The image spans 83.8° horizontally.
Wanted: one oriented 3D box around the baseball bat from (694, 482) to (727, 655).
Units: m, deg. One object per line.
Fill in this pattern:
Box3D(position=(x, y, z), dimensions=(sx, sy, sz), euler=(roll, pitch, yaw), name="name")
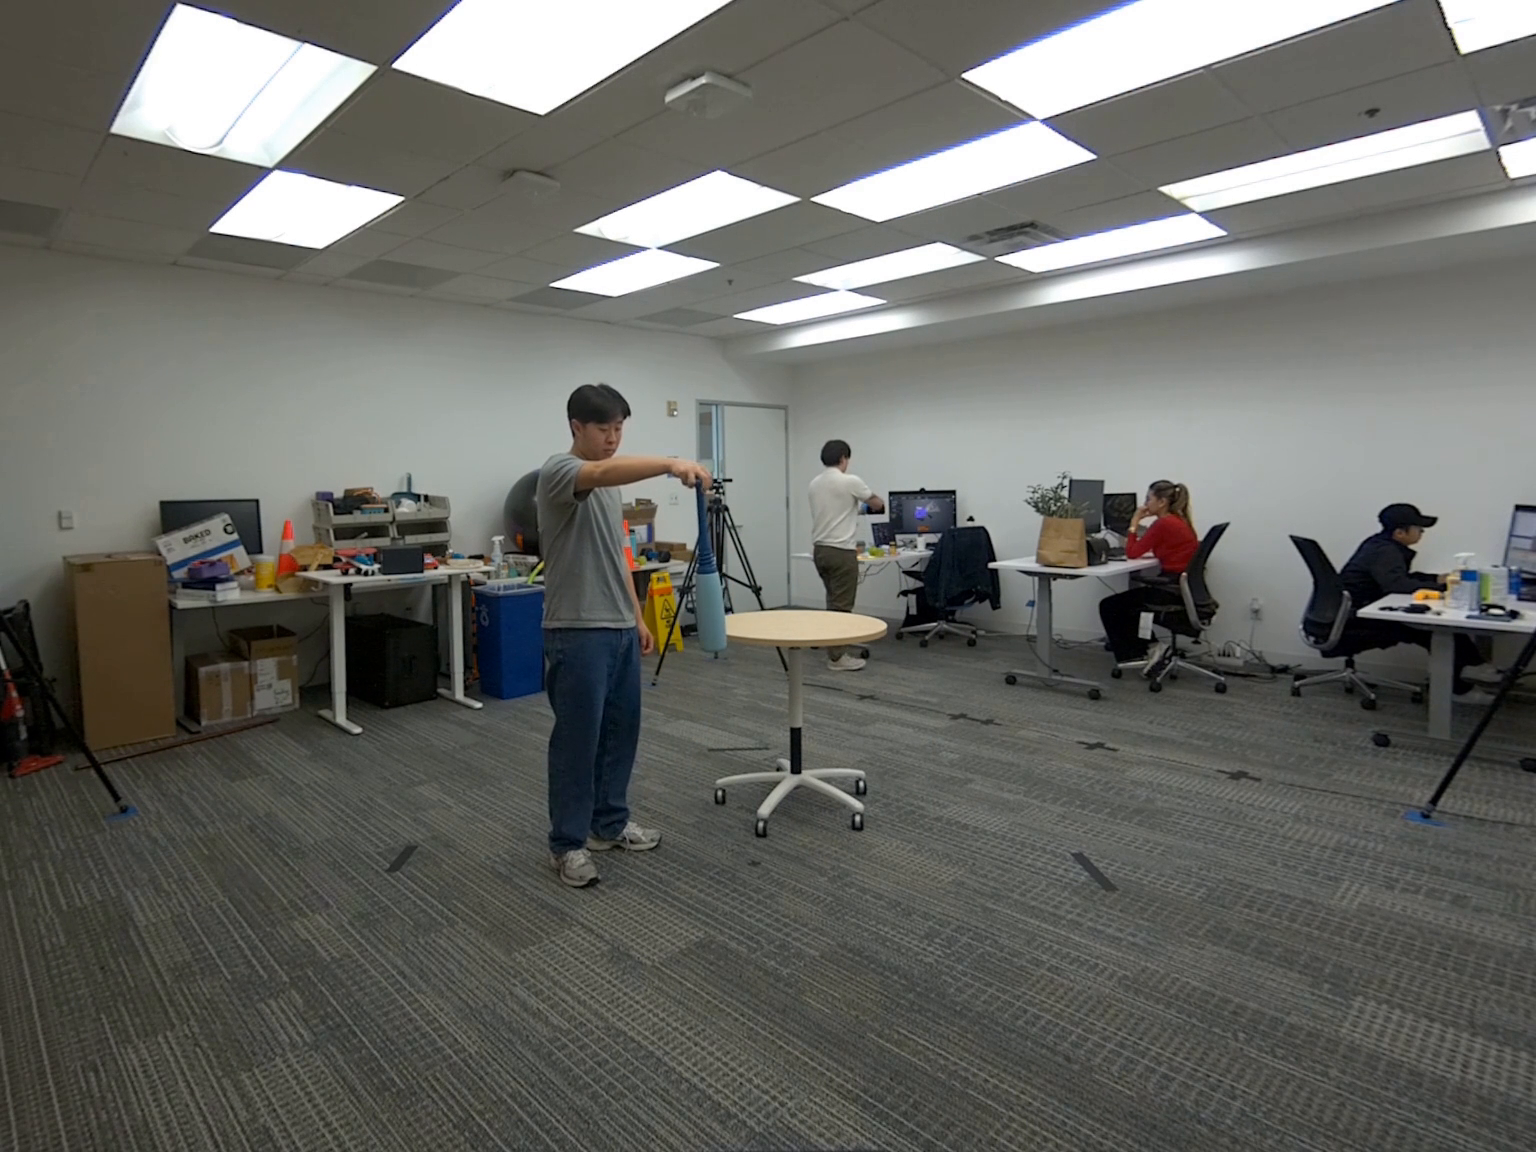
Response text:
Box3D(position=(-0.187, -0.035, 2.644), dimensions=(0.089, 0.537, 0.090), euler=(-4, 11, -1), name="baseball bat")
